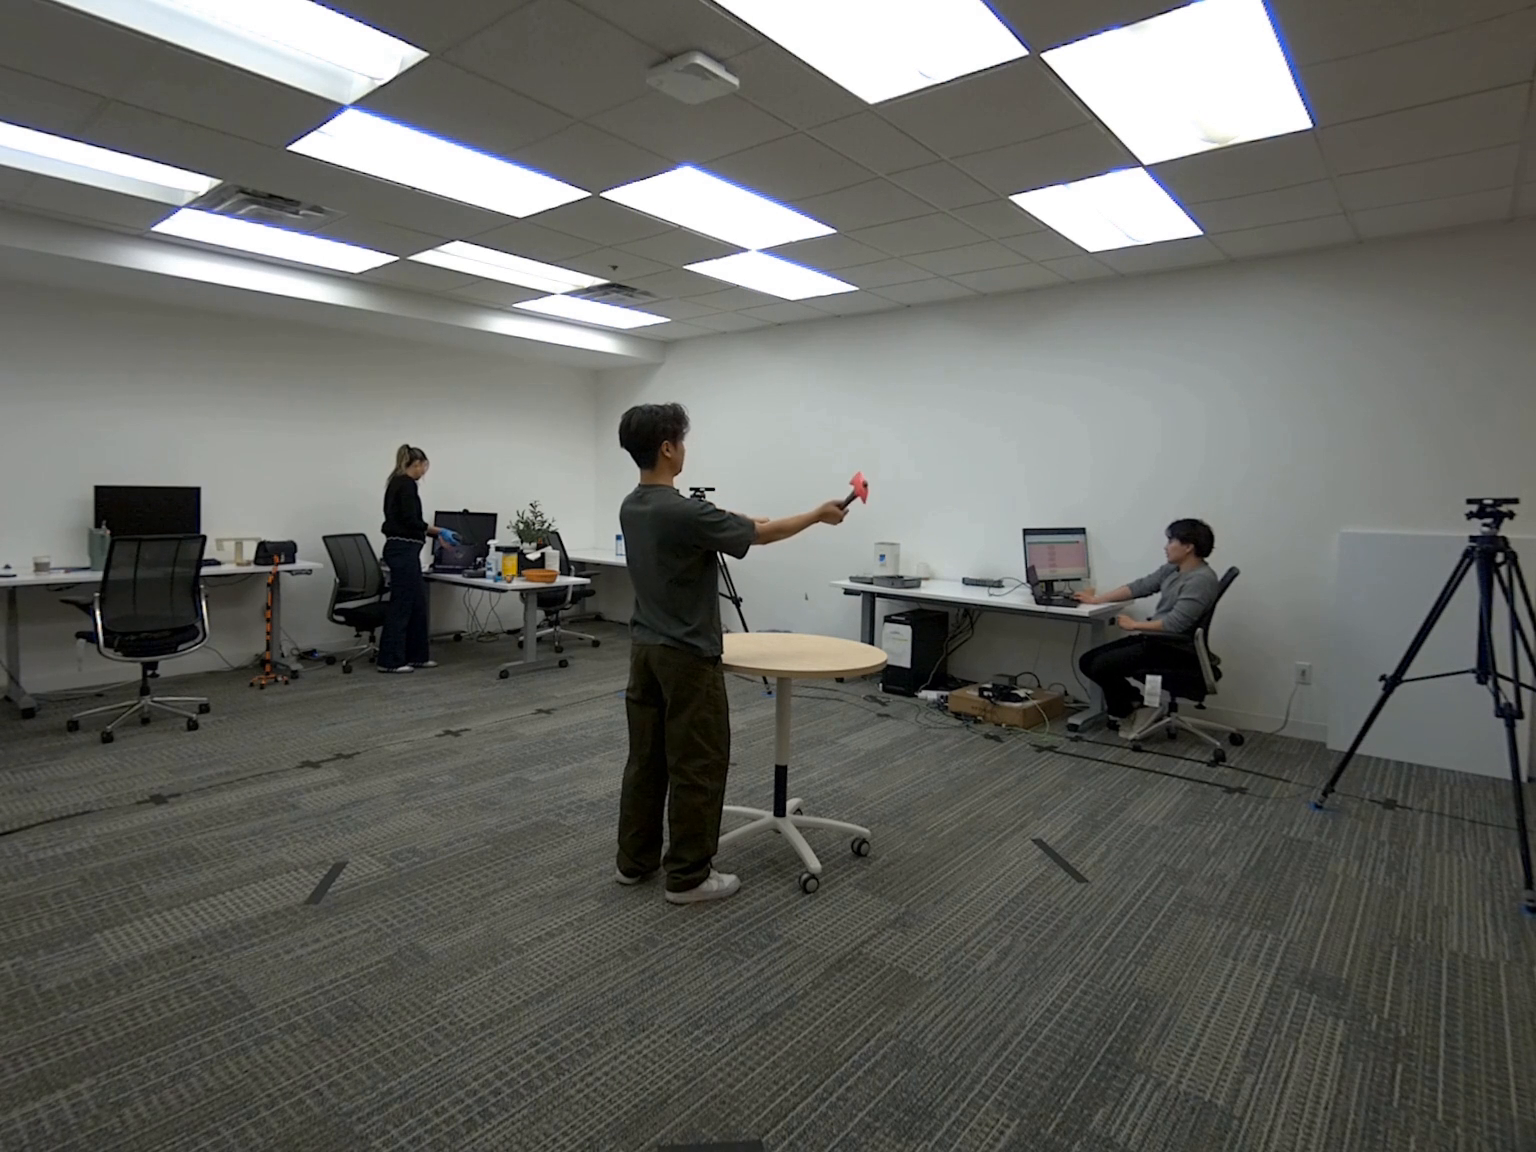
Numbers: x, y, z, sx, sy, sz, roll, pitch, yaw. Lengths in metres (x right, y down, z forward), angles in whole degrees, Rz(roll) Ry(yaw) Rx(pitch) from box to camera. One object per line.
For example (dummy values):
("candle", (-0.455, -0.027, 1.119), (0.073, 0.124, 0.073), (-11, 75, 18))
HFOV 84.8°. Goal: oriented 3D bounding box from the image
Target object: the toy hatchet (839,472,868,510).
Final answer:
("toy hatchet", (0.257, -0.280, 2.984), (0.029, 0.133, 0.274), (8, -16, -27))
